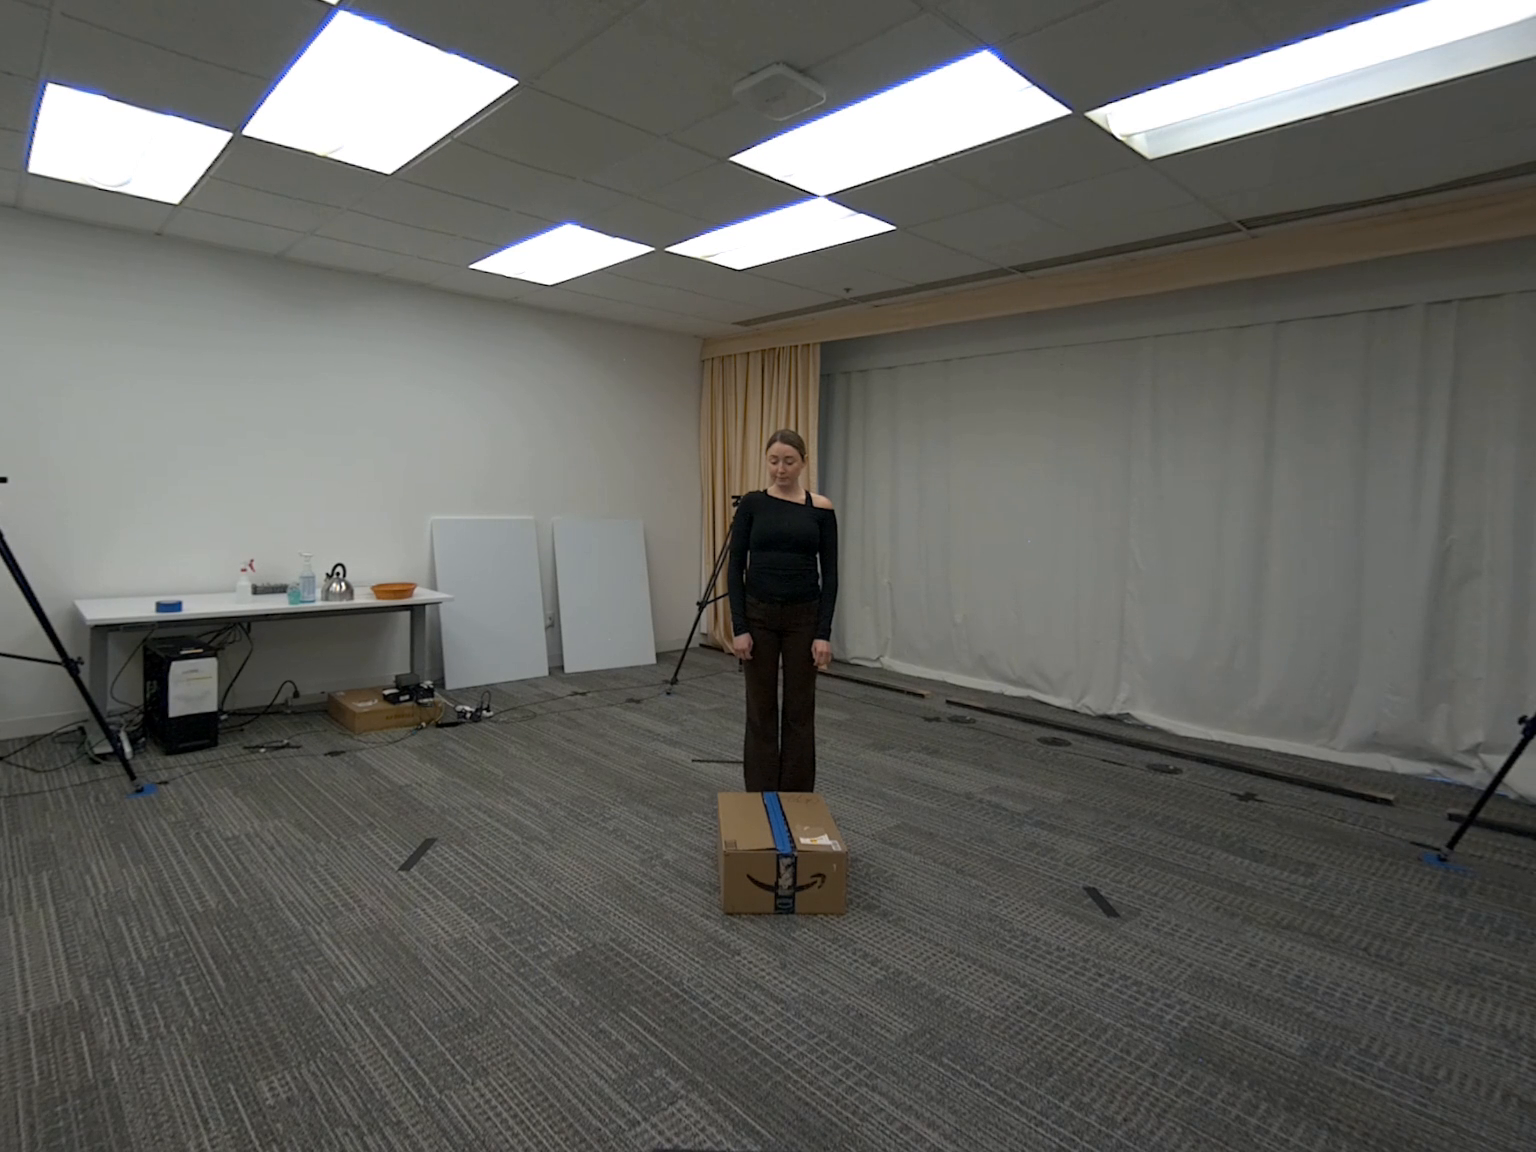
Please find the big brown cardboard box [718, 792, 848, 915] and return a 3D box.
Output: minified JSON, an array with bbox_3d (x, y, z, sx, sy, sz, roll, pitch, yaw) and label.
[{"bbox_3d":[0.021,0.996,3.075,0.416,0.232,0.592,1,4,-5],"label":"big brown cardboard box"}]
